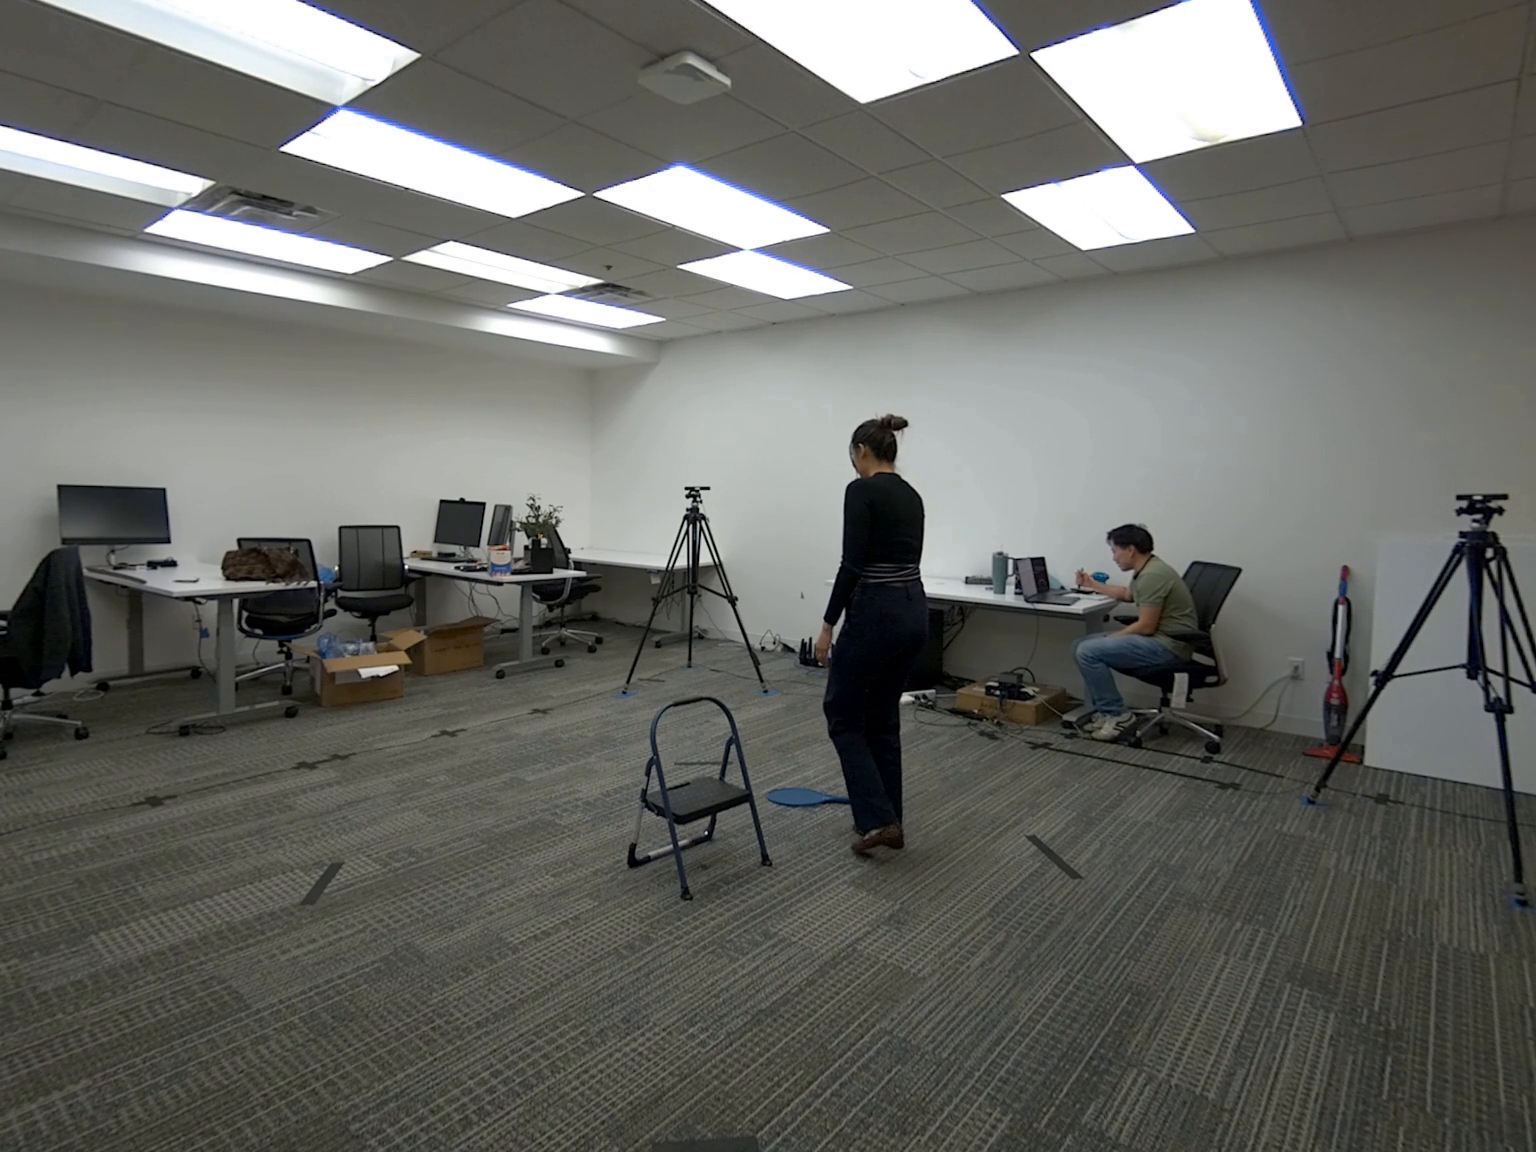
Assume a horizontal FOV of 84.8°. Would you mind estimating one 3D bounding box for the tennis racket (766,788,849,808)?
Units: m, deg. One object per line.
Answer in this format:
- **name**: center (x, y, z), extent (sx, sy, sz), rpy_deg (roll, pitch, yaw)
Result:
- **tennis racket**: center (0.195, 0.986, 3.812), extent (0.437, 0.031, 0.212), rpy_deg (1, 5, 9)
